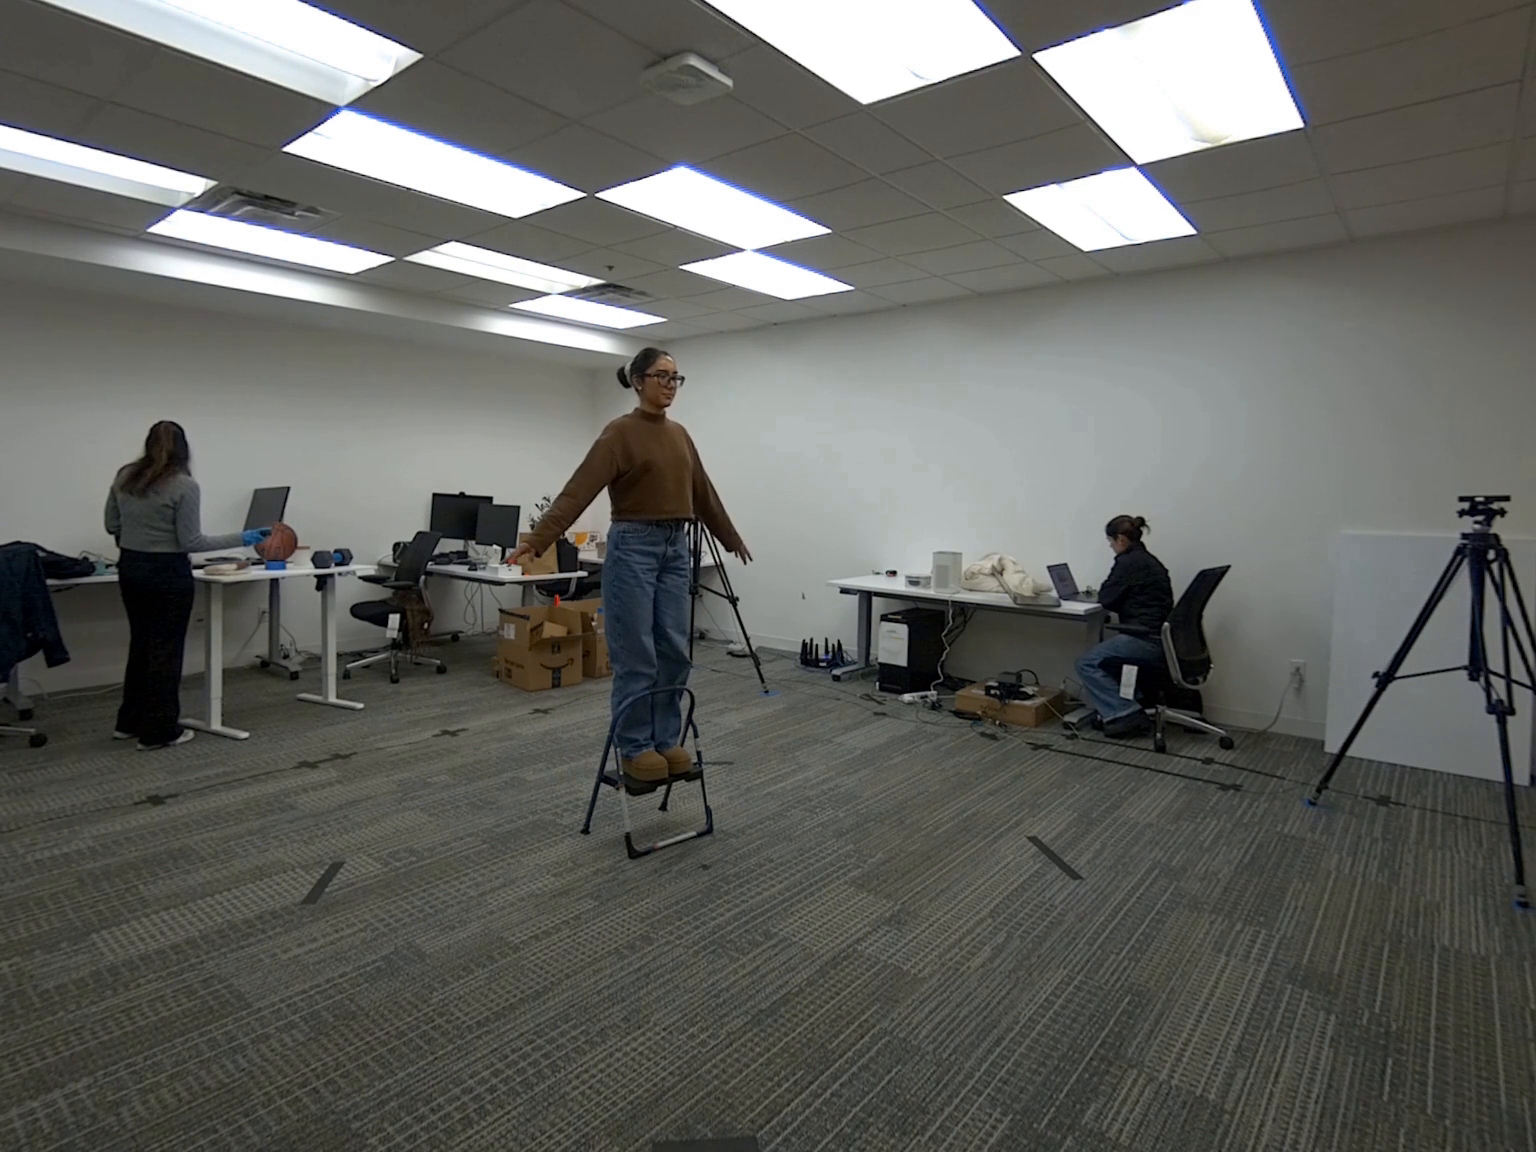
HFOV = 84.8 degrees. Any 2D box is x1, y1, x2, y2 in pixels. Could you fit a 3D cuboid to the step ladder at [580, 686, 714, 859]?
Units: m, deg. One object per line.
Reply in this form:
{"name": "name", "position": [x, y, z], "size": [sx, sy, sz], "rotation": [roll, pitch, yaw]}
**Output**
{"name": "step ladder", "position": [-0.488, 0.730, 3.412], "size": [0.417, 0.604, 0.361], "rotation": [-2, 5, -44]}
